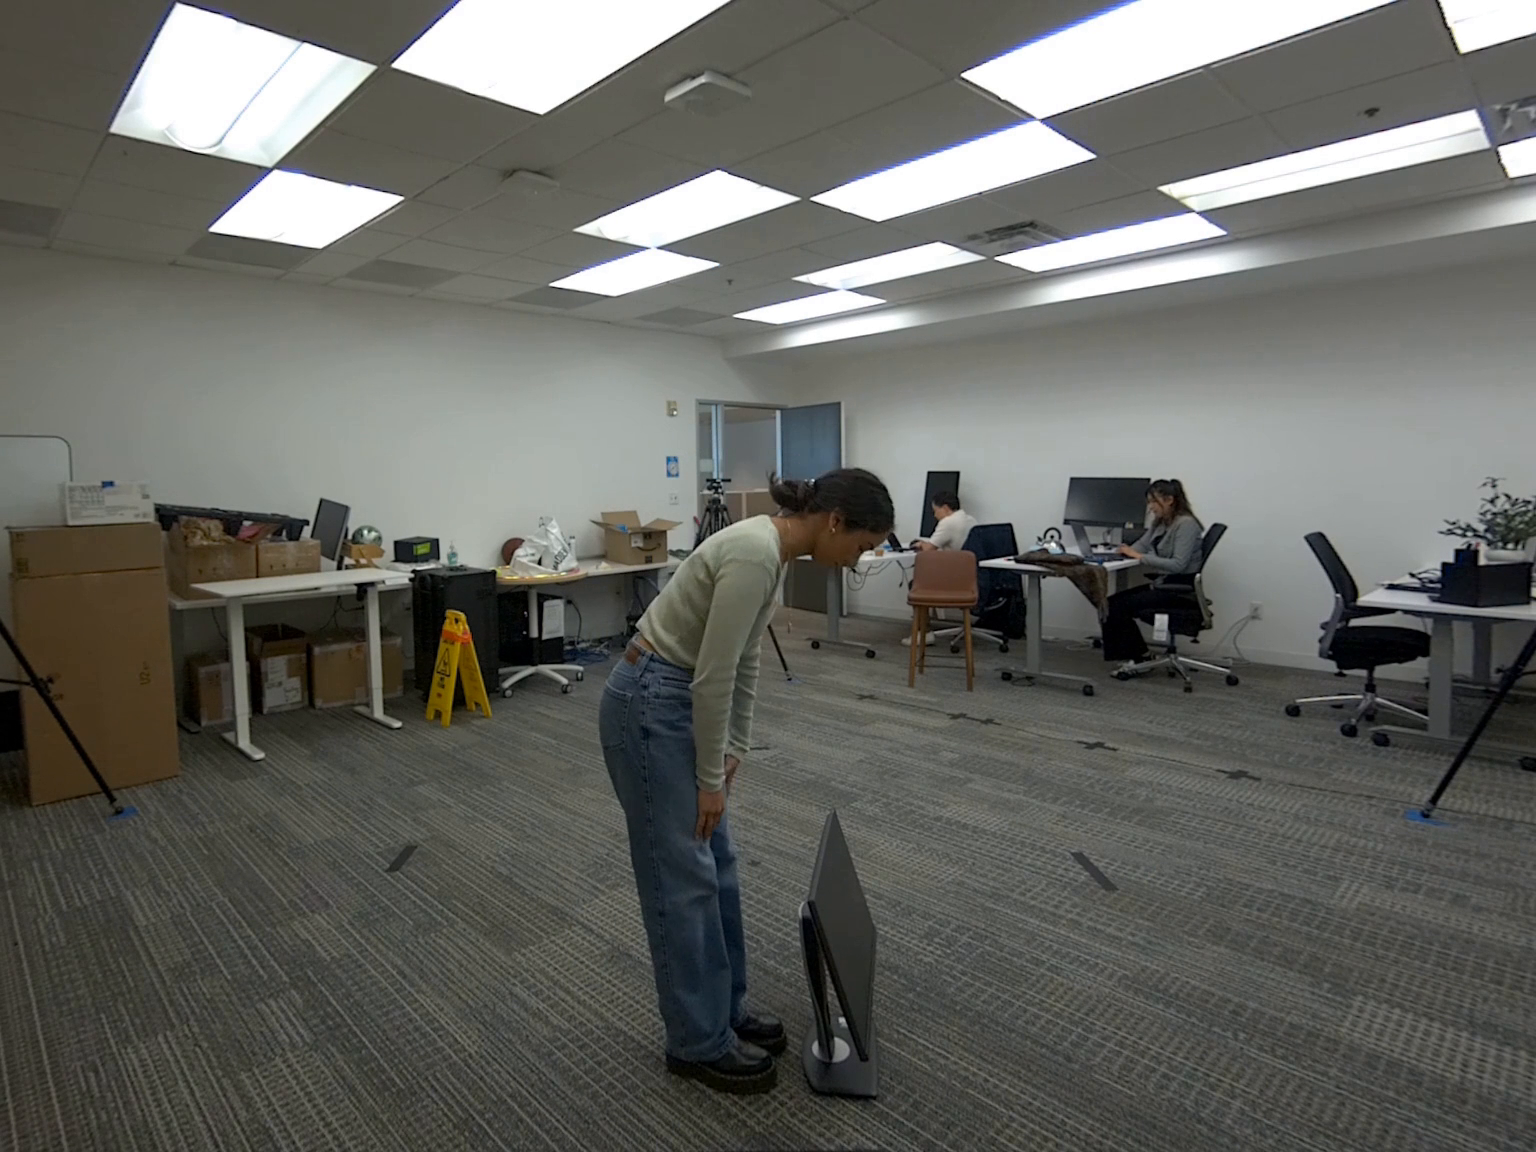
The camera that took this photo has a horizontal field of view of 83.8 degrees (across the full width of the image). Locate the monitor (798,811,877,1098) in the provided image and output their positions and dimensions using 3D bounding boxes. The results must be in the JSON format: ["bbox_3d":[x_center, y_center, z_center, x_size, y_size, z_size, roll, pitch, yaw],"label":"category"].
[{"bbox_3d":[0.170,0.900,2.043,0.176,0.514,0.526,0,4,8],"label":"monitor"}]
